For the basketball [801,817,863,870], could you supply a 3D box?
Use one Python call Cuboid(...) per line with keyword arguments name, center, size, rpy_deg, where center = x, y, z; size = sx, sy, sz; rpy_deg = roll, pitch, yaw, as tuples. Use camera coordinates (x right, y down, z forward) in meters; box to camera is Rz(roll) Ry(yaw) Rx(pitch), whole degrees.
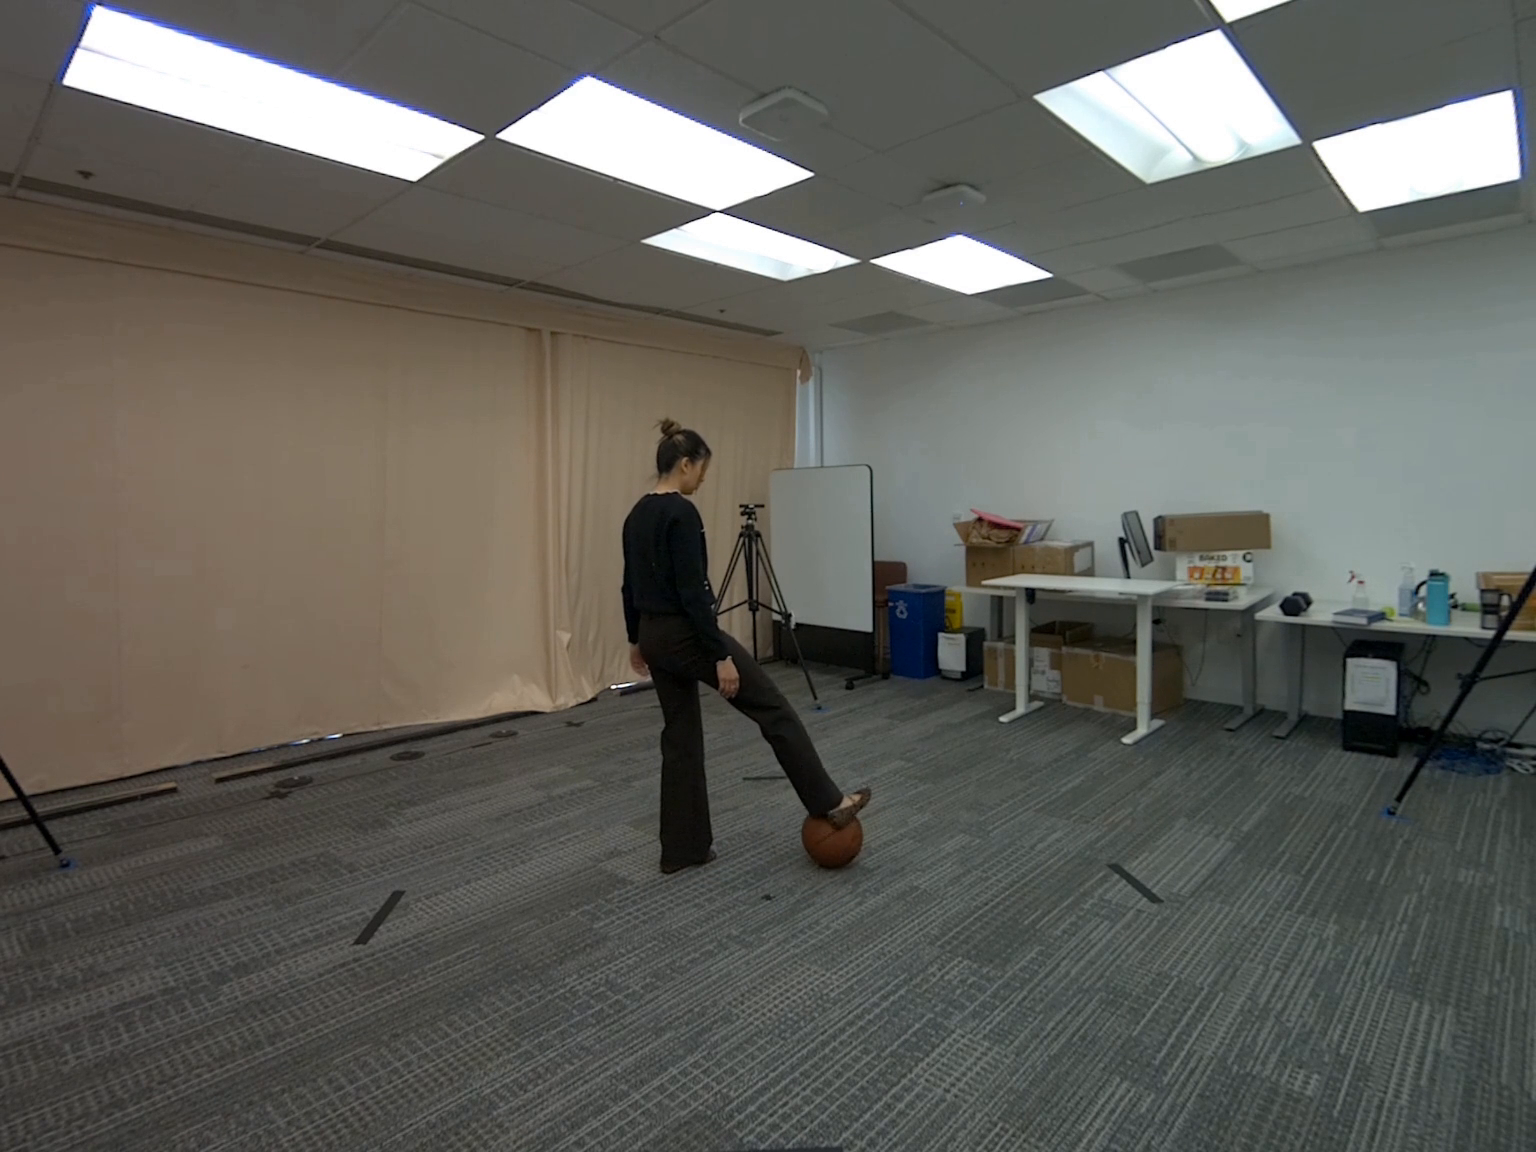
Cuboid(name="basketball", center=(0.246, 0.999, 3.249), size=(0.236, 0.235, 0.237), rpy_deg=(-1, 4, -2))
